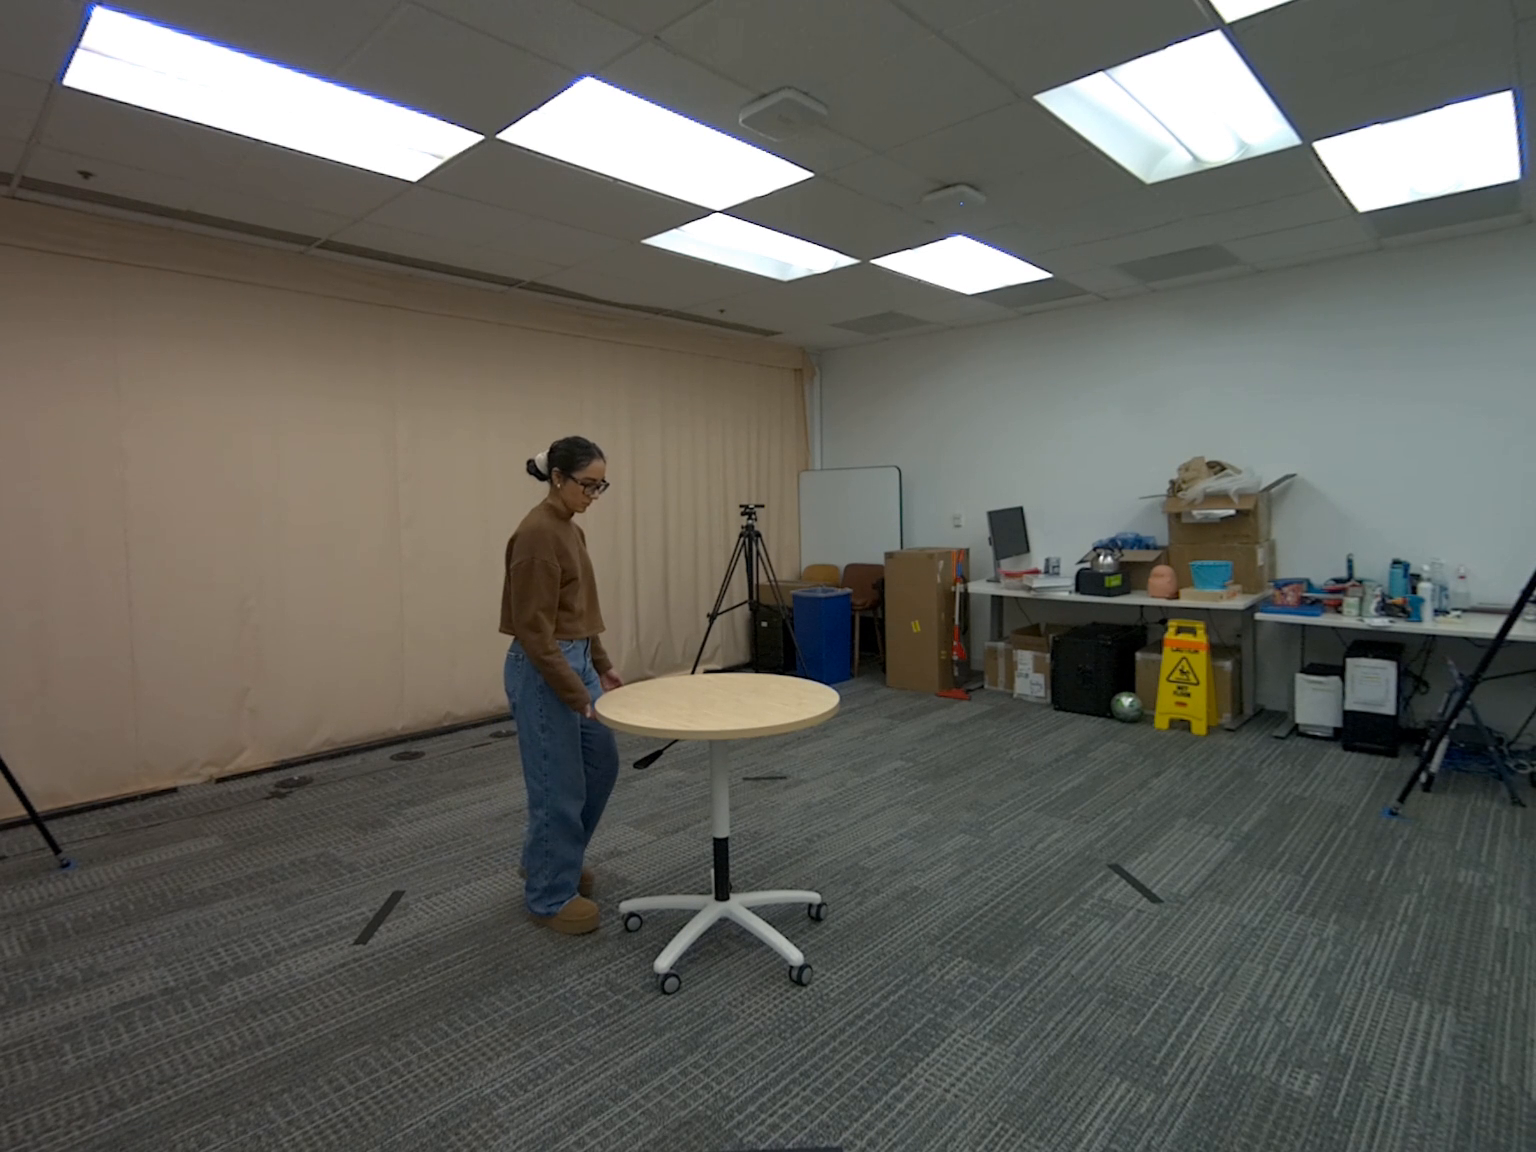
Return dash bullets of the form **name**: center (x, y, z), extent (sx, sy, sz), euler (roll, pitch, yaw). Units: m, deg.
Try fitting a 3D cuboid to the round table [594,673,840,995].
- **round table**: center (-0.145, 0.783, 2.660), extent (0.763, 0.792, 0.767), euler (-2, 4, -2)
